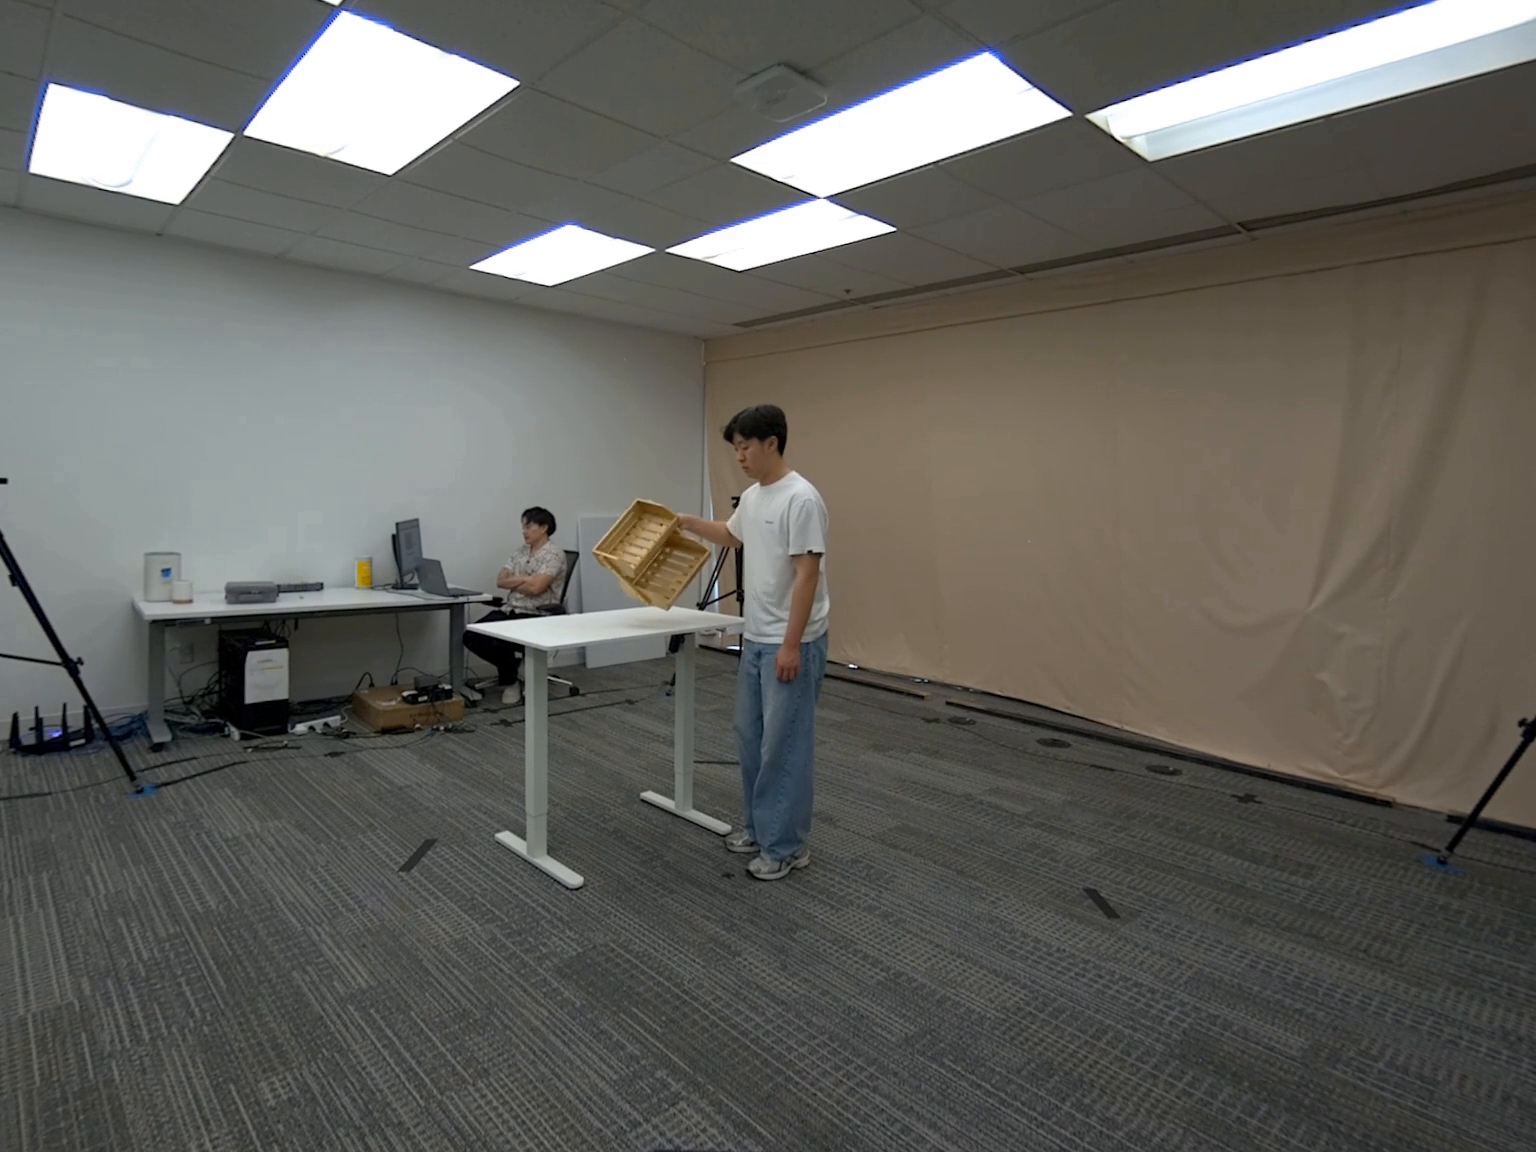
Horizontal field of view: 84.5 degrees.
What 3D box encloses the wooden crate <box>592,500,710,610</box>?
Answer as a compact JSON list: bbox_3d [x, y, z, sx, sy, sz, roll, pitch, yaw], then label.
[{"bbox_3d":[-0.451,-0.083,3.336,0.310,0.325,0.265,16,-32,37],"label":"wooden crate"}]
